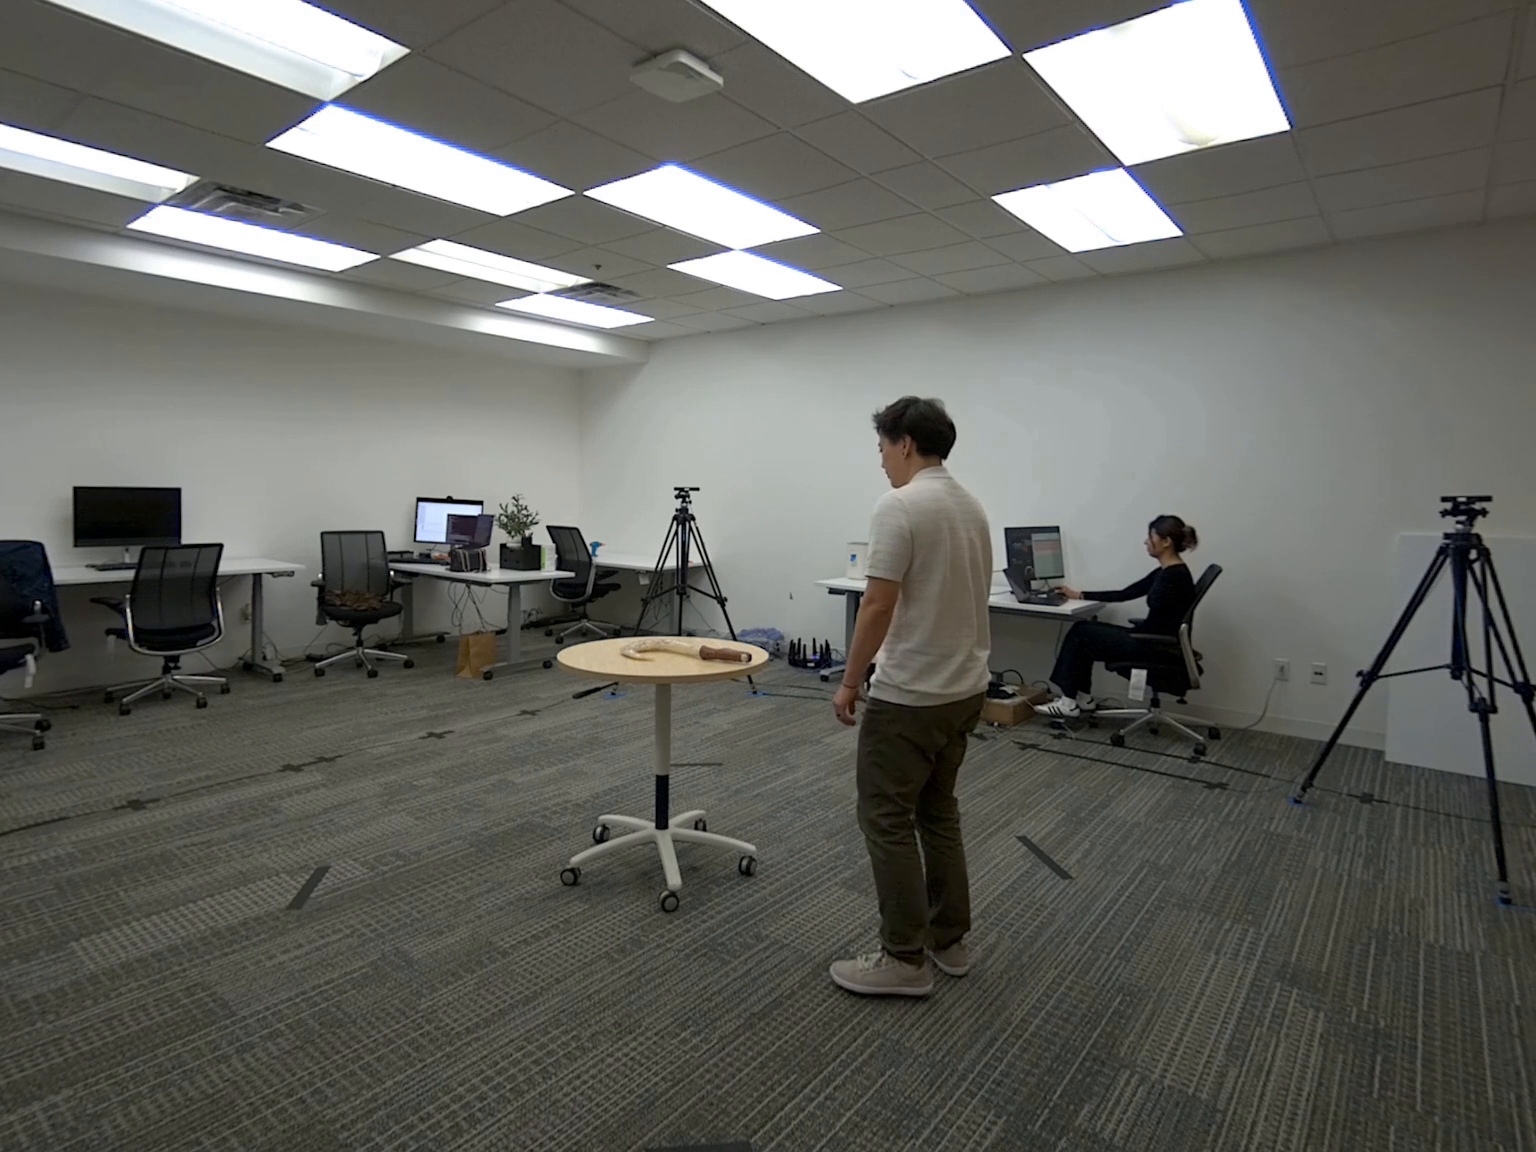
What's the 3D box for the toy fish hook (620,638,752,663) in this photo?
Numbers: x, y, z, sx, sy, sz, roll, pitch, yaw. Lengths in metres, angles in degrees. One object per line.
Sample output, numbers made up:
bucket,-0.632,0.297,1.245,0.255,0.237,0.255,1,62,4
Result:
toy fish hook,-0.311,0.281,2.997,0.522,0.048,0.220,3,14,32
